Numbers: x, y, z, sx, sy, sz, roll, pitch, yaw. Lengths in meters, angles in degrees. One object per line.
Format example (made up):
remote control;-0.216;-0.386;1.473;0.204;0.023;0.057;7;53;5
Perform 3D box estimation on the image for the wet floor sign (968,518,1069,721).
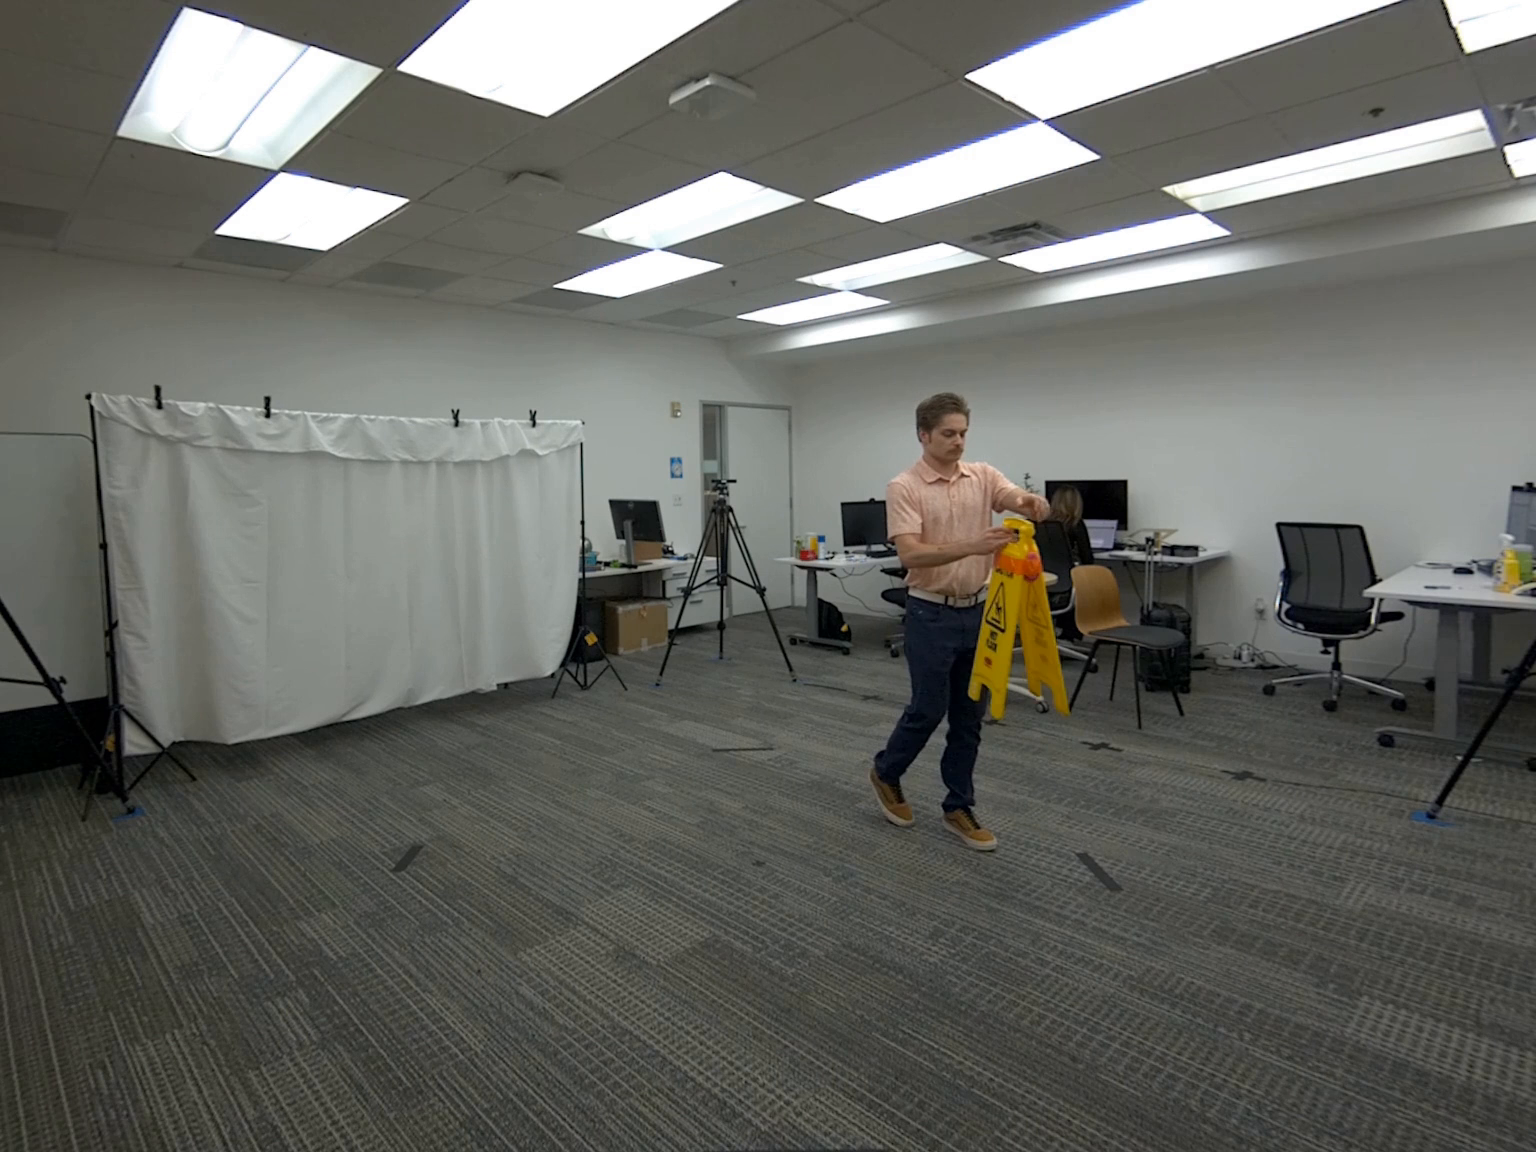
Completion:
wet floor sign;0.858;0.129;2.925;0.289;0.641;0.285;-2;8;-4
